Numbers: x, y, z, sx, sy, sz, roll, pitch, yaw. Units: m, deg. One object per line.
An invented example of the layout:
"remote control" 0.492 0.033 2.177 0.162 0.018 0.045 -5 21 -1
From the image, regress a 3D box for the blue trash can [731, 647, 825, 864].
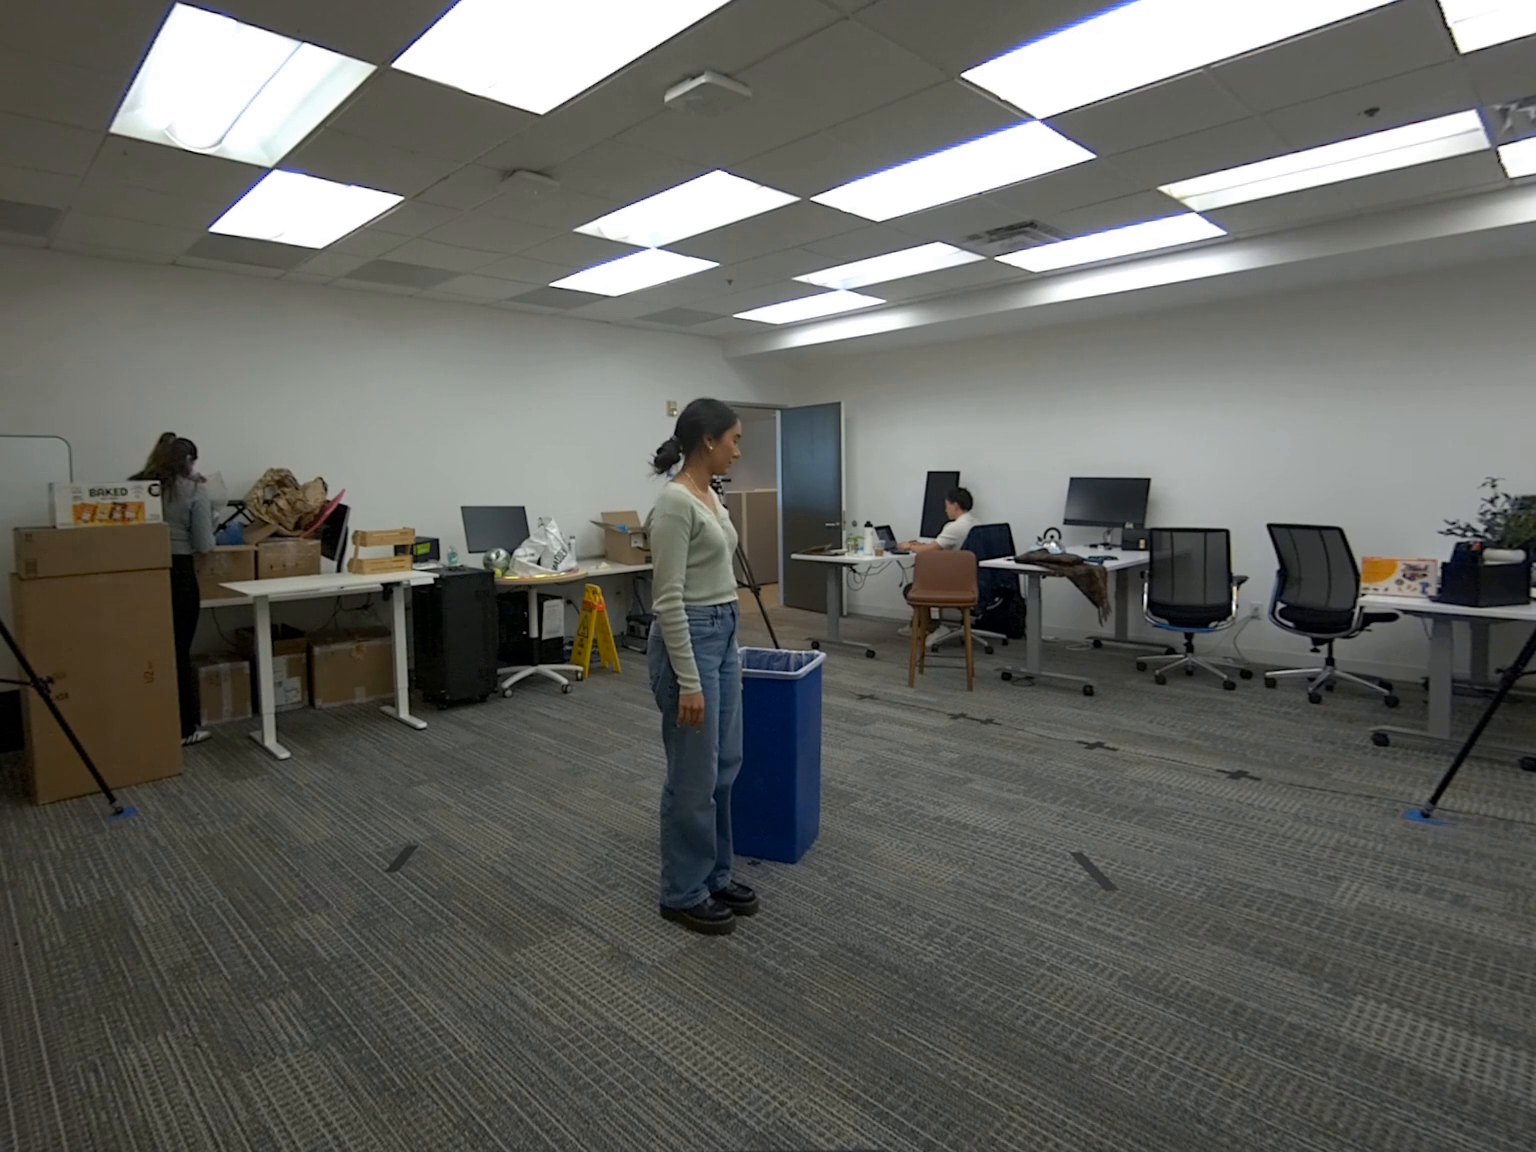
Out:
"blue trash can" 0.007 0.669 3.251 0.386 0.711 0.368 1 4 22
